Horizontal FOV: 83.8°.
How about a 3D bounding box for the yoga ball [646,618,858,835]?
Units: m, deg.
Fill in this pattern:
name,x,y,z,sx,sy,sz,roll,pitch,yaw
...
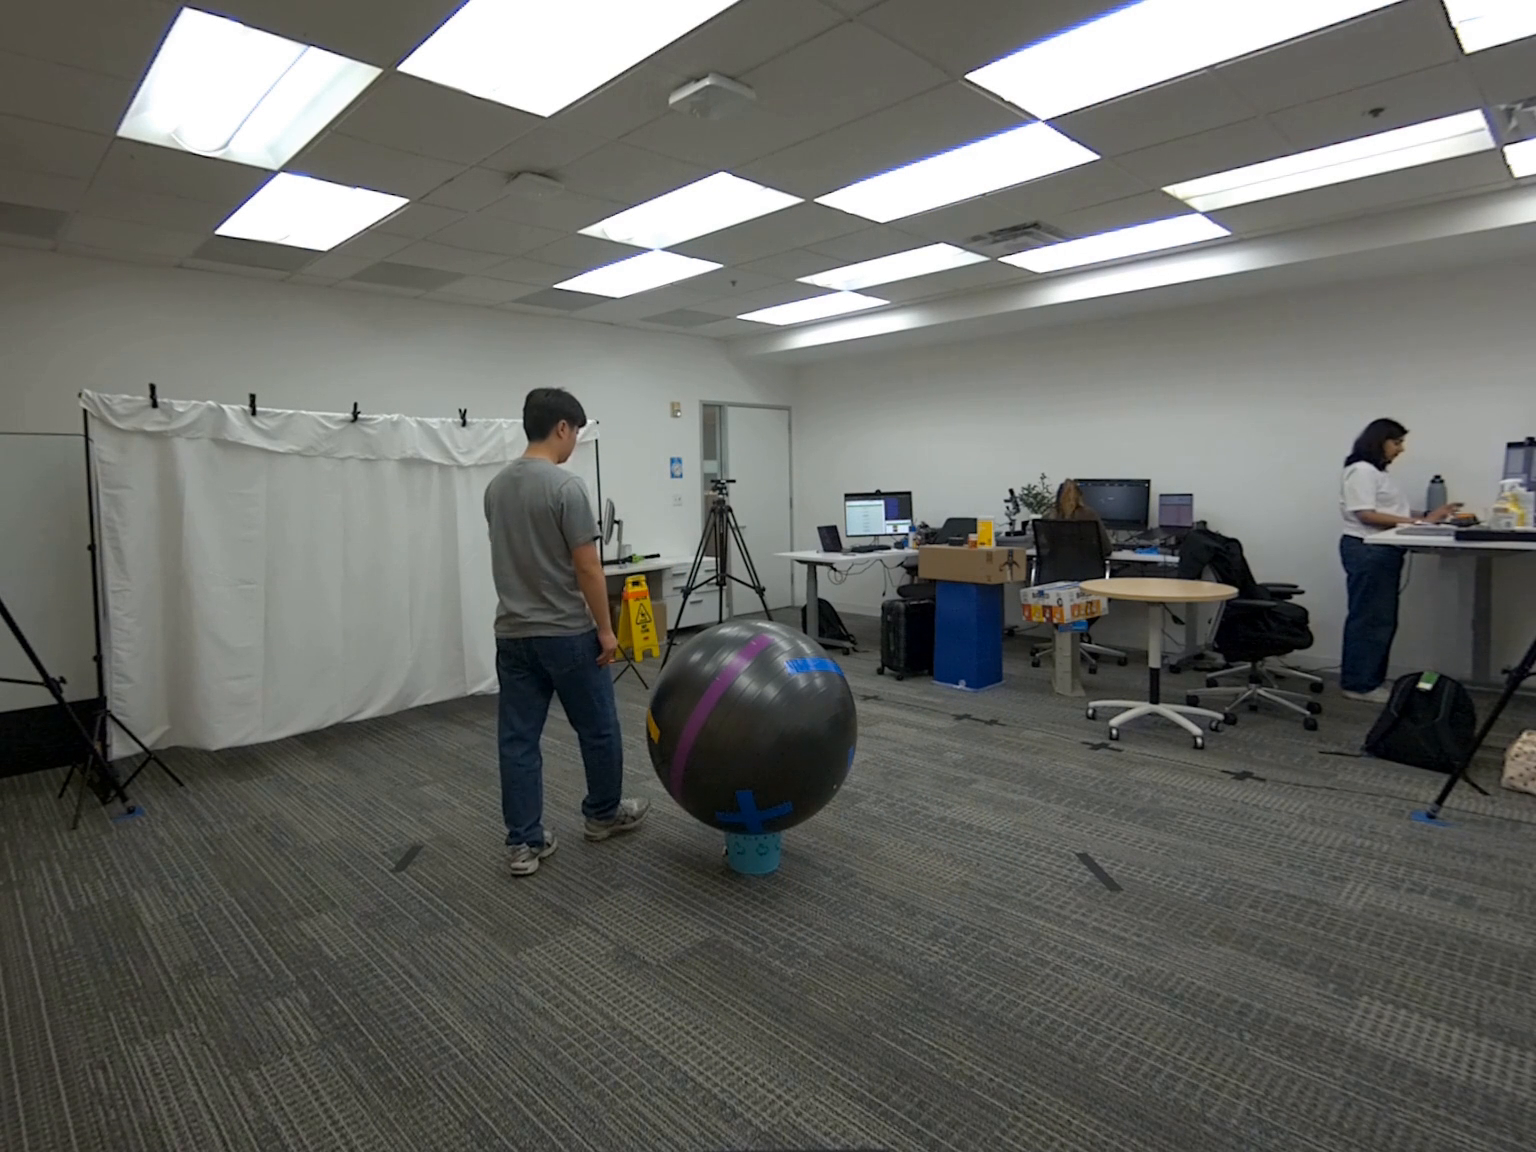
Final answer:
name,x,y,z,sx,sy,sz,roll,pitch,yaw
yoga ball,-0.057,0.535,3.084,0.757,0.755,0.762,-1,5,-2
